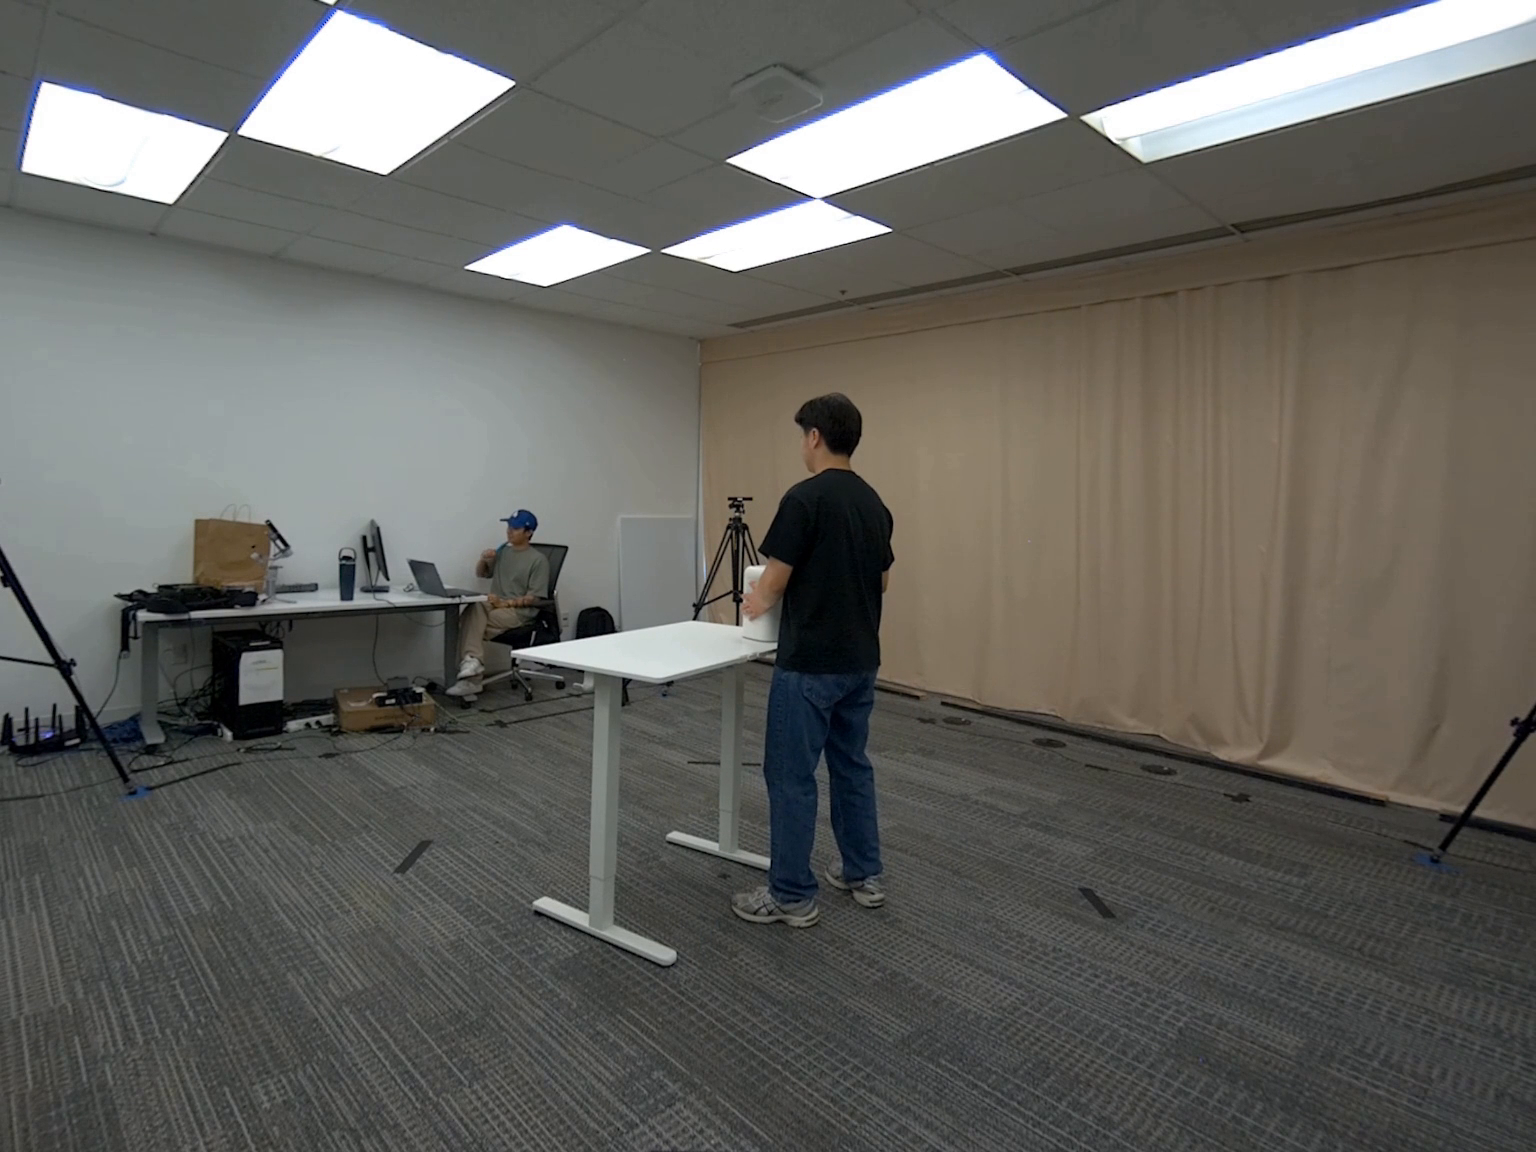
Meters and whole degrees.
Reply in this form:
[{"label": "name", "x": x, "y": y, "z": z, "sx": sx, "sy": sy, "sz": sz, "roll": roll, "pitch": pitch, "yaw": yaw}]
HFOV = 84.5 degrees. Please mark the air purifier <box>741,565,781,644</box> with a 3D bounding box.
[{"label": "air purifier", "x": 0.005, "y": 0.099, "z": 3.102, "sx": 0.167, "sy": 0.265, "sz": 0.176, "roll": 1, "pitch": 4, "yaw": -40}]
